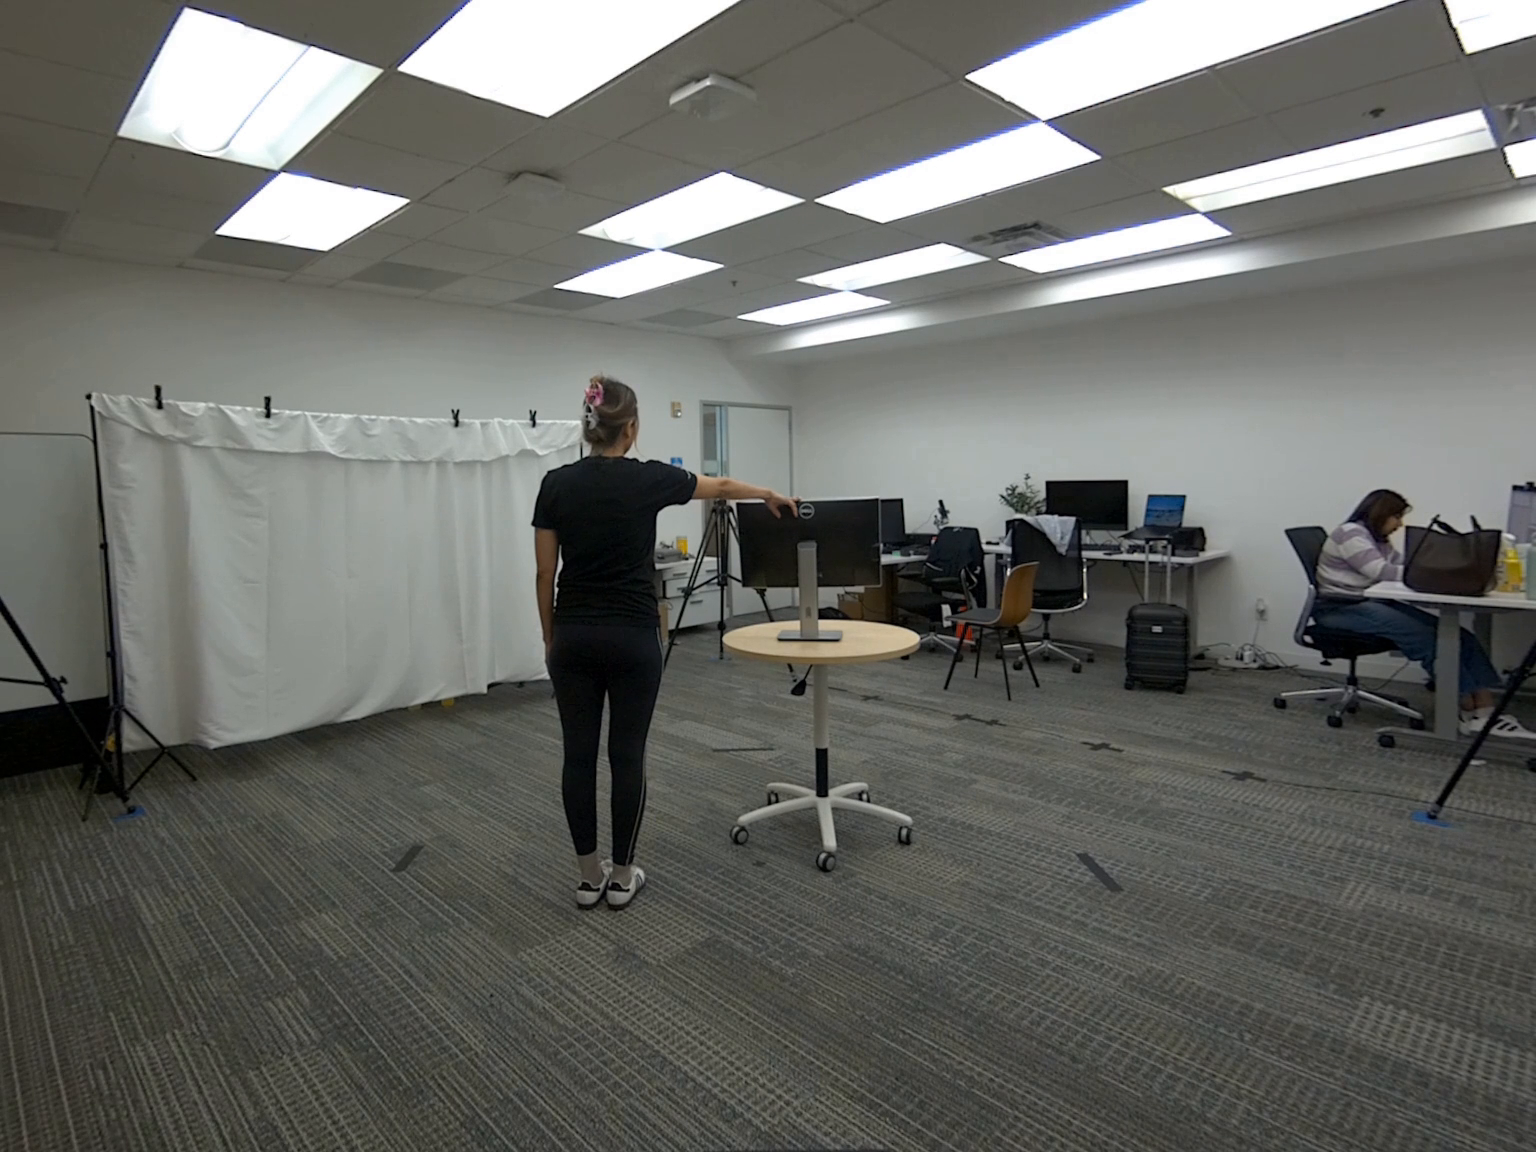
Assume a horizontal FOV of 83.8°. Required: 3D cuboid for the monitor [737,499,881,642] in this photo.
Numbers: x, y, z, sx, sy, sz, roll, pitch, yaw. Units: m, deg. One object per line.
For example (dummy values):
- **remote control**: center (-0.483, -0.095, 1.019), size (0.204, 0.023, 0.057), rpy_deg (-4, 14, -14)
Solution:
- **monitor**: center (0.155, -0.022, 3.329), size (0.543, 0.521, 0.186), rpy_deg (-1, 4, 8)
